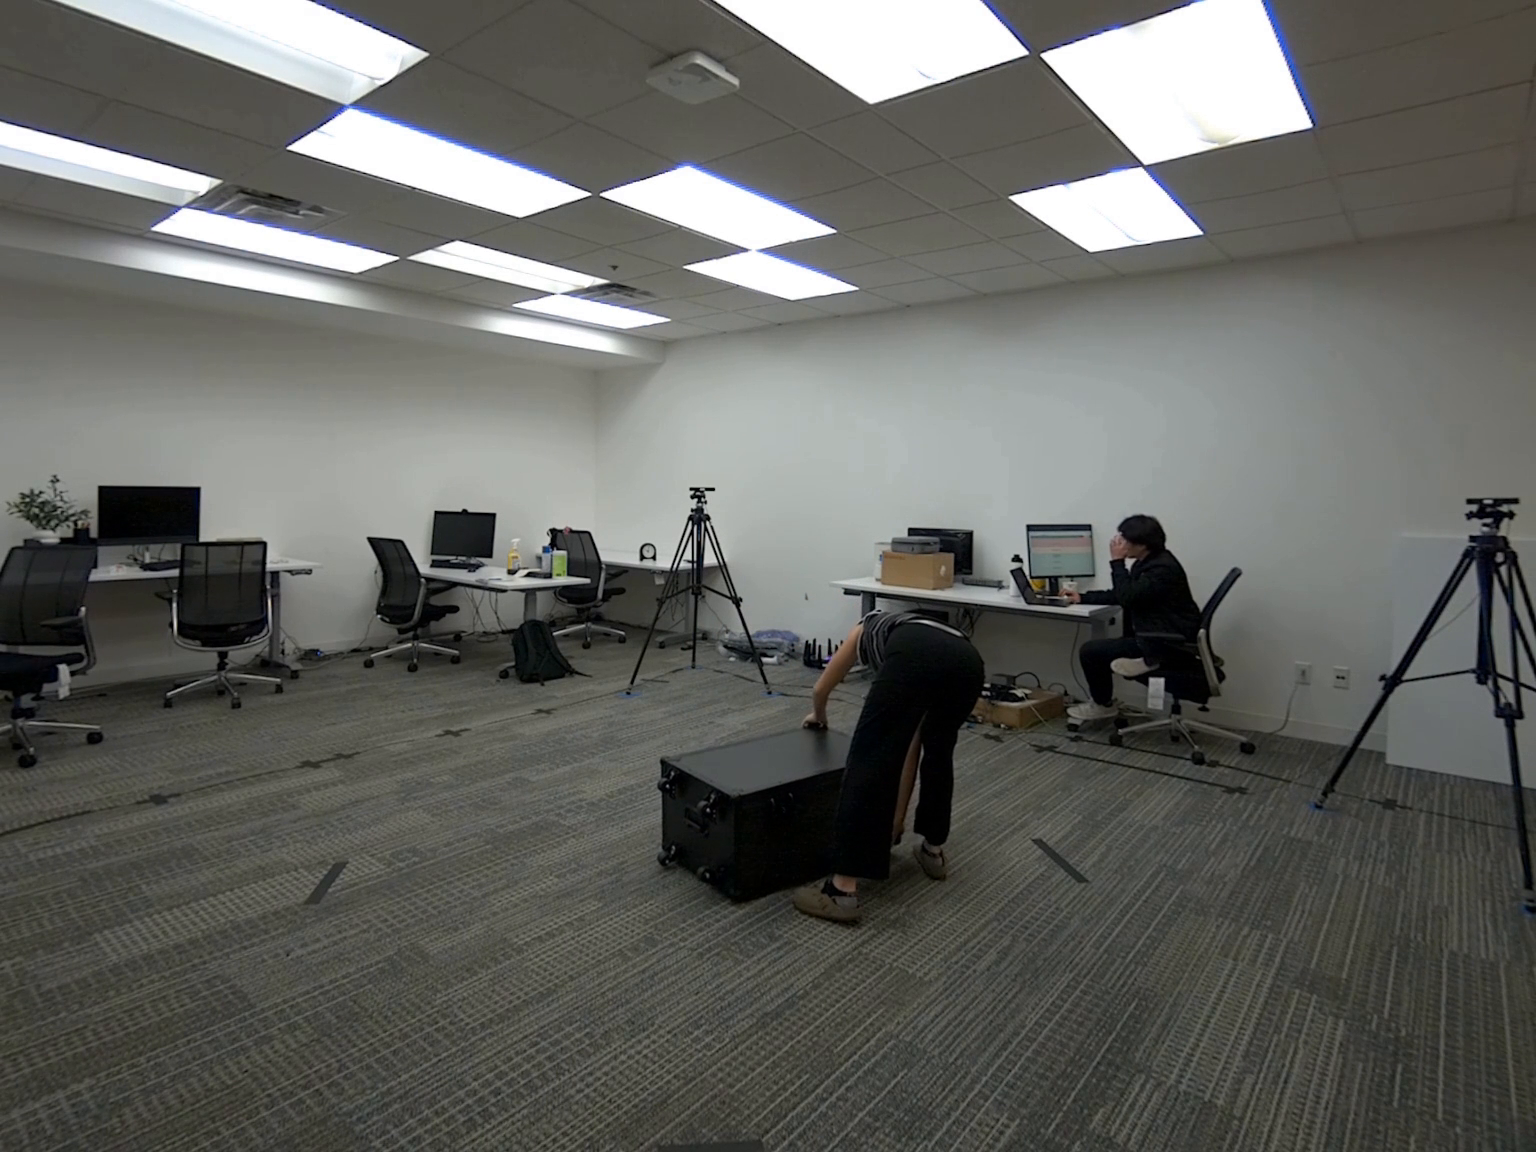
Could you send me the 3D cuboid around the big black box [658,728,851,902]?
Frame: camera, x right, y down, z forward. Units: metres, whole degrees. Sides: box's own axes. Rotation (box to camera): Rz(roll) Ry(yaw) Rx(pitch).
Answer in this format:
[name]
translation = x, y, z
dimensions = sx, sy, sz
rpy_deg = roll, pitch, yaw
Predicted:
[big black box]
translation = 0.013, 0.861, 3.209
dimensions = 0.837, 0.394, 0.538
rpy_deg = -5, 7, -36
